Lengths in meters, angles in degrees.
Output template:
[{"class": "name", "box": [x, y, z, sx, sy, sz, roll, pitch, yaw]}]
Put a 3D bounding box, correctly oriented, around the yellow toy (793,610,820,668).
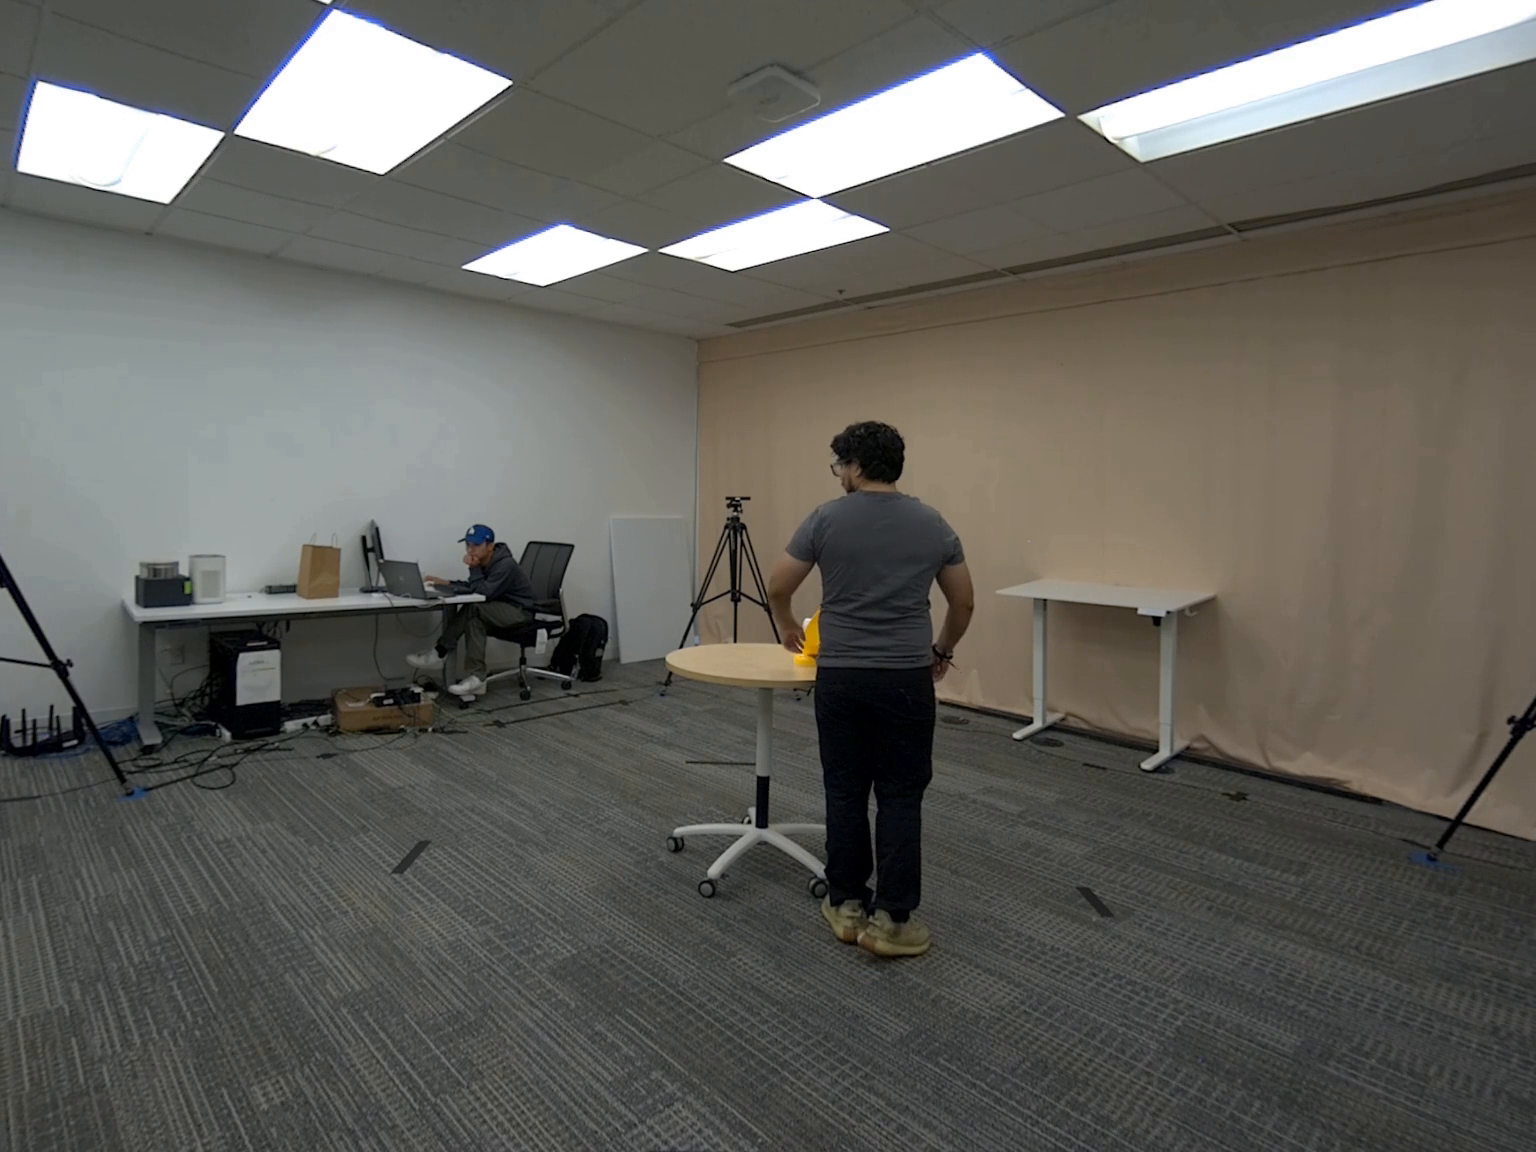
[{"class": "yellow toy", "box": [0.190, 0.214, 3.156, 0.204, 0.230, 0.194, 1, 4, -5]}]
